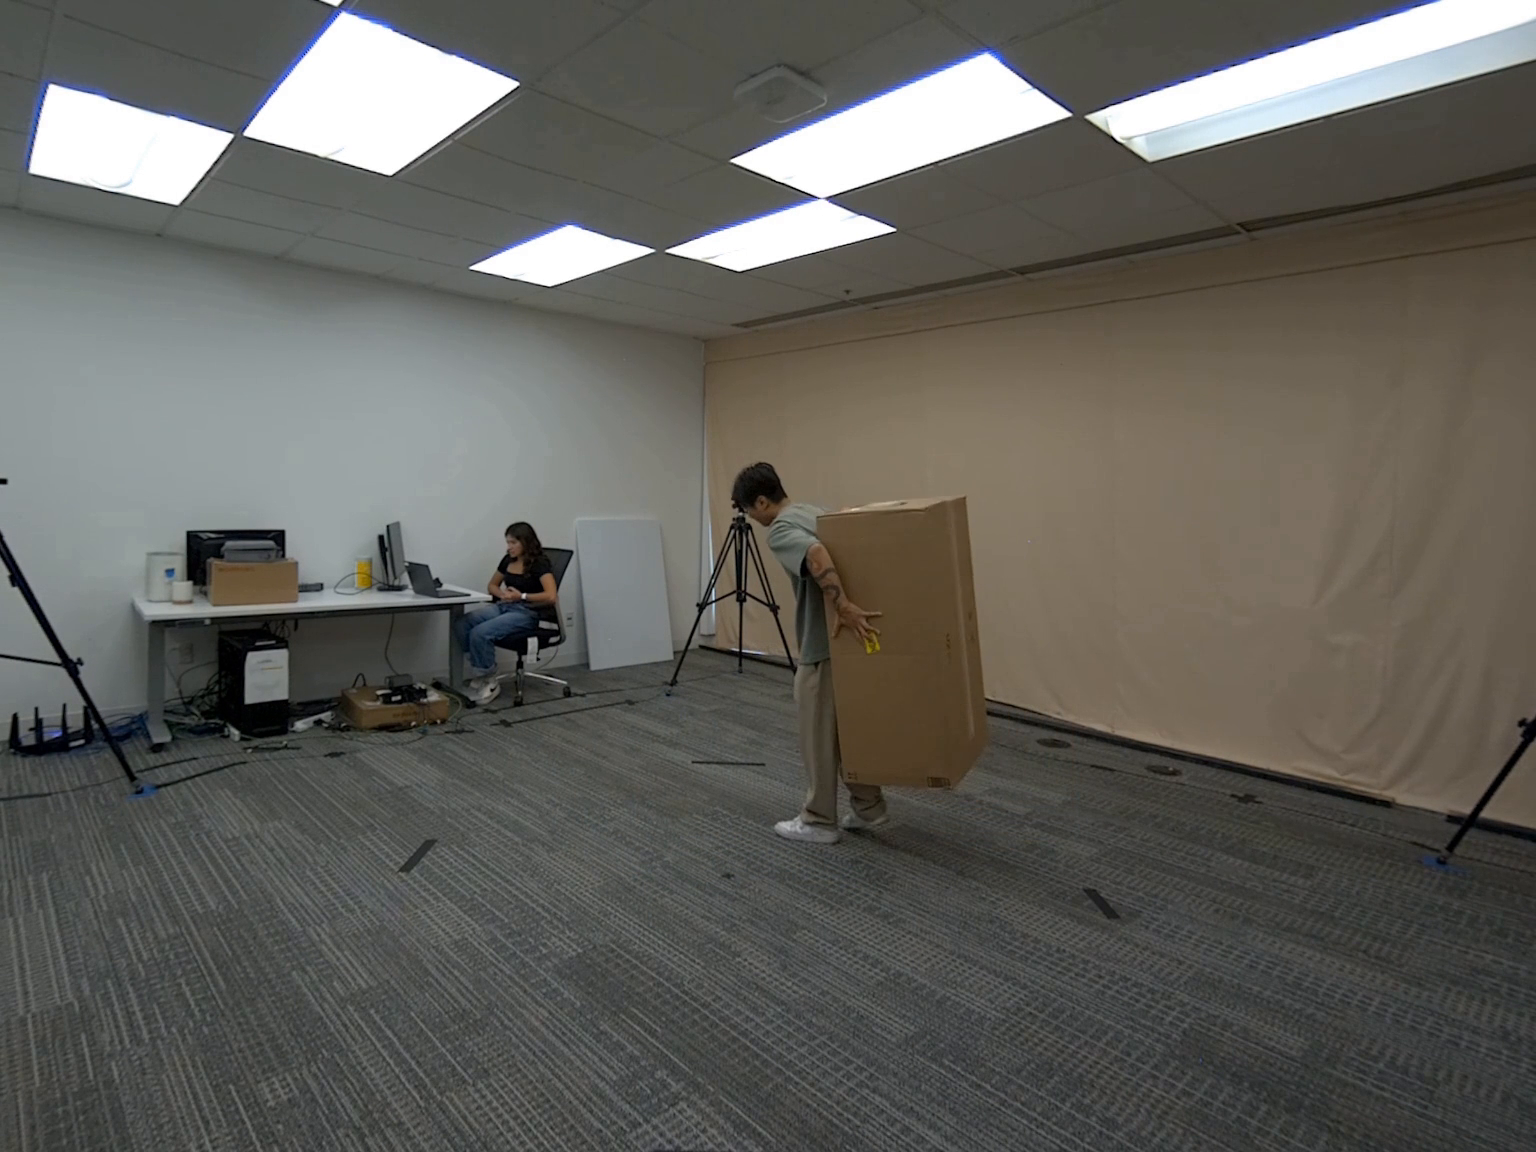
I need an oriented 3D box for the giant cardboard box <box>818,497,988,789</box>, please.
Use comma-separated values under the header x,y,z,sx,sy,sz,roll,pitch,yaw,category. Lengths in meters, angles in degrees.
x,y,z,sx,sy,sz,roll,pitch,yaw,category
0.548,0.233,3.294,0.434,1.021,0.569,-3,6,28,giant cardboard box
